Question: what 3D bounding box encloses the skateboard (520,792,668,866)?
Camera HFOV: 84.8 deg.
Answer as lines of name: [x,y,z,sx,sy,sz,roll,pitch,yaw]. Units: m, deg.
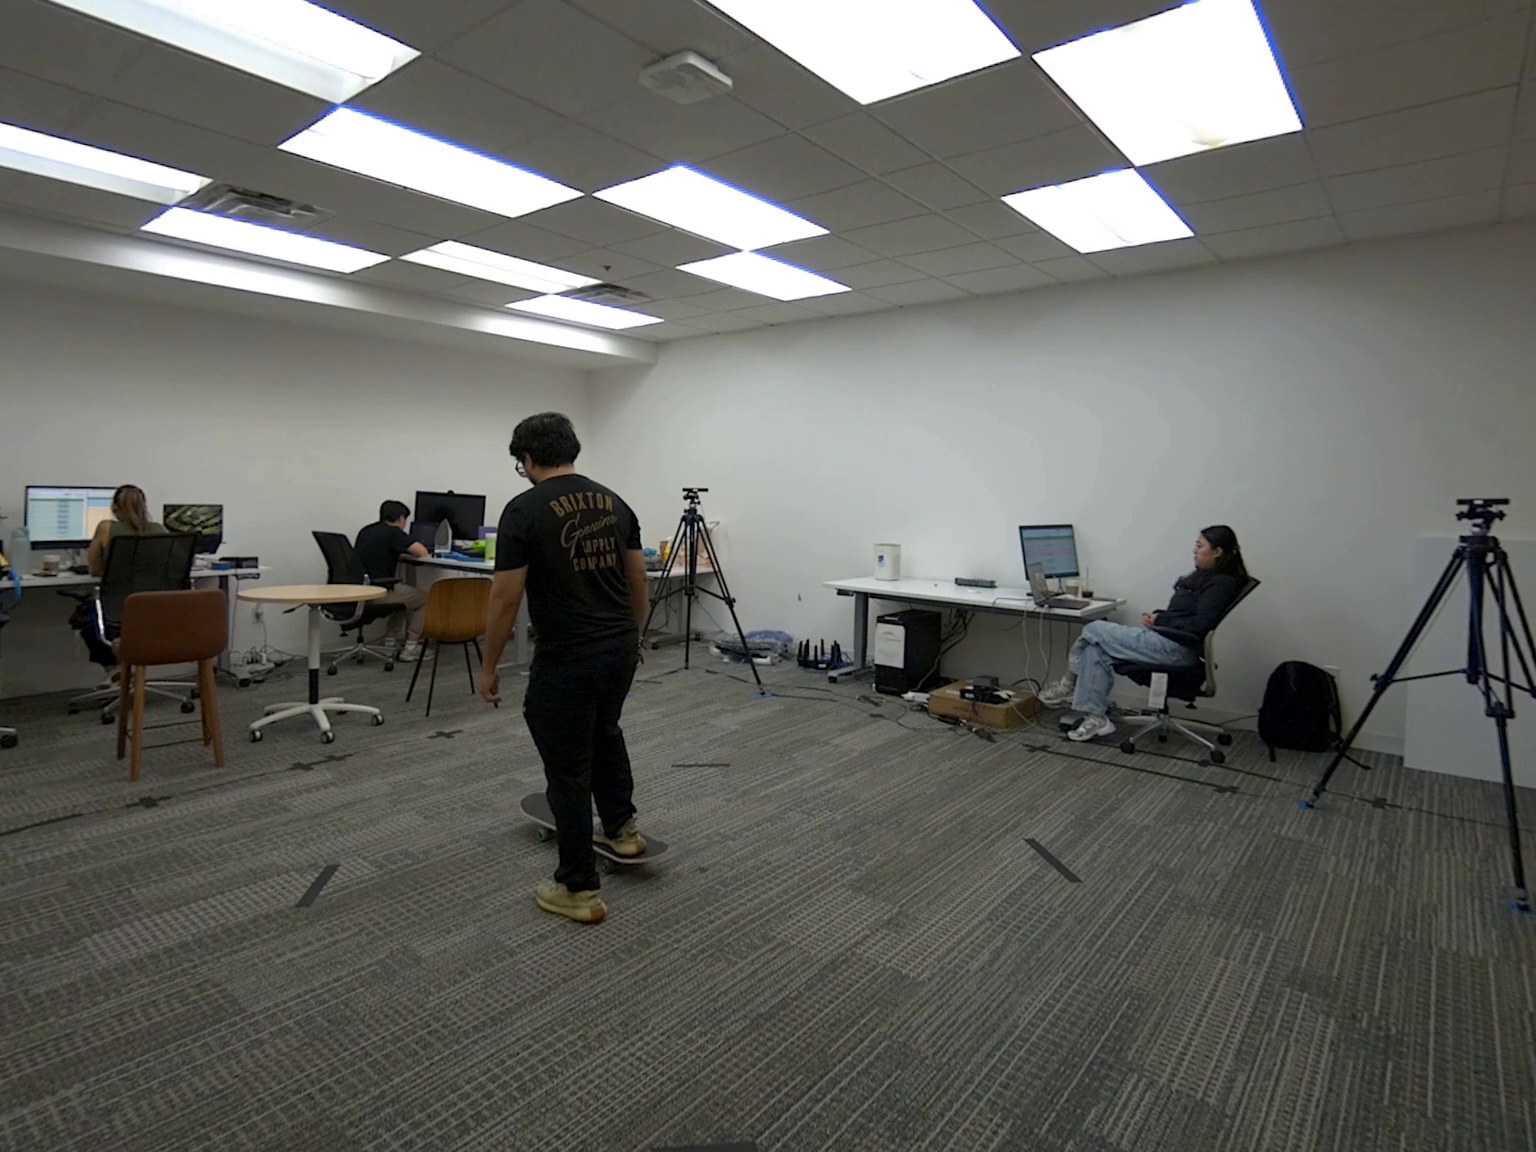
skateboard: [-0.692,0.988,3.252,0.813,0.109,0.188,7,10,41]
